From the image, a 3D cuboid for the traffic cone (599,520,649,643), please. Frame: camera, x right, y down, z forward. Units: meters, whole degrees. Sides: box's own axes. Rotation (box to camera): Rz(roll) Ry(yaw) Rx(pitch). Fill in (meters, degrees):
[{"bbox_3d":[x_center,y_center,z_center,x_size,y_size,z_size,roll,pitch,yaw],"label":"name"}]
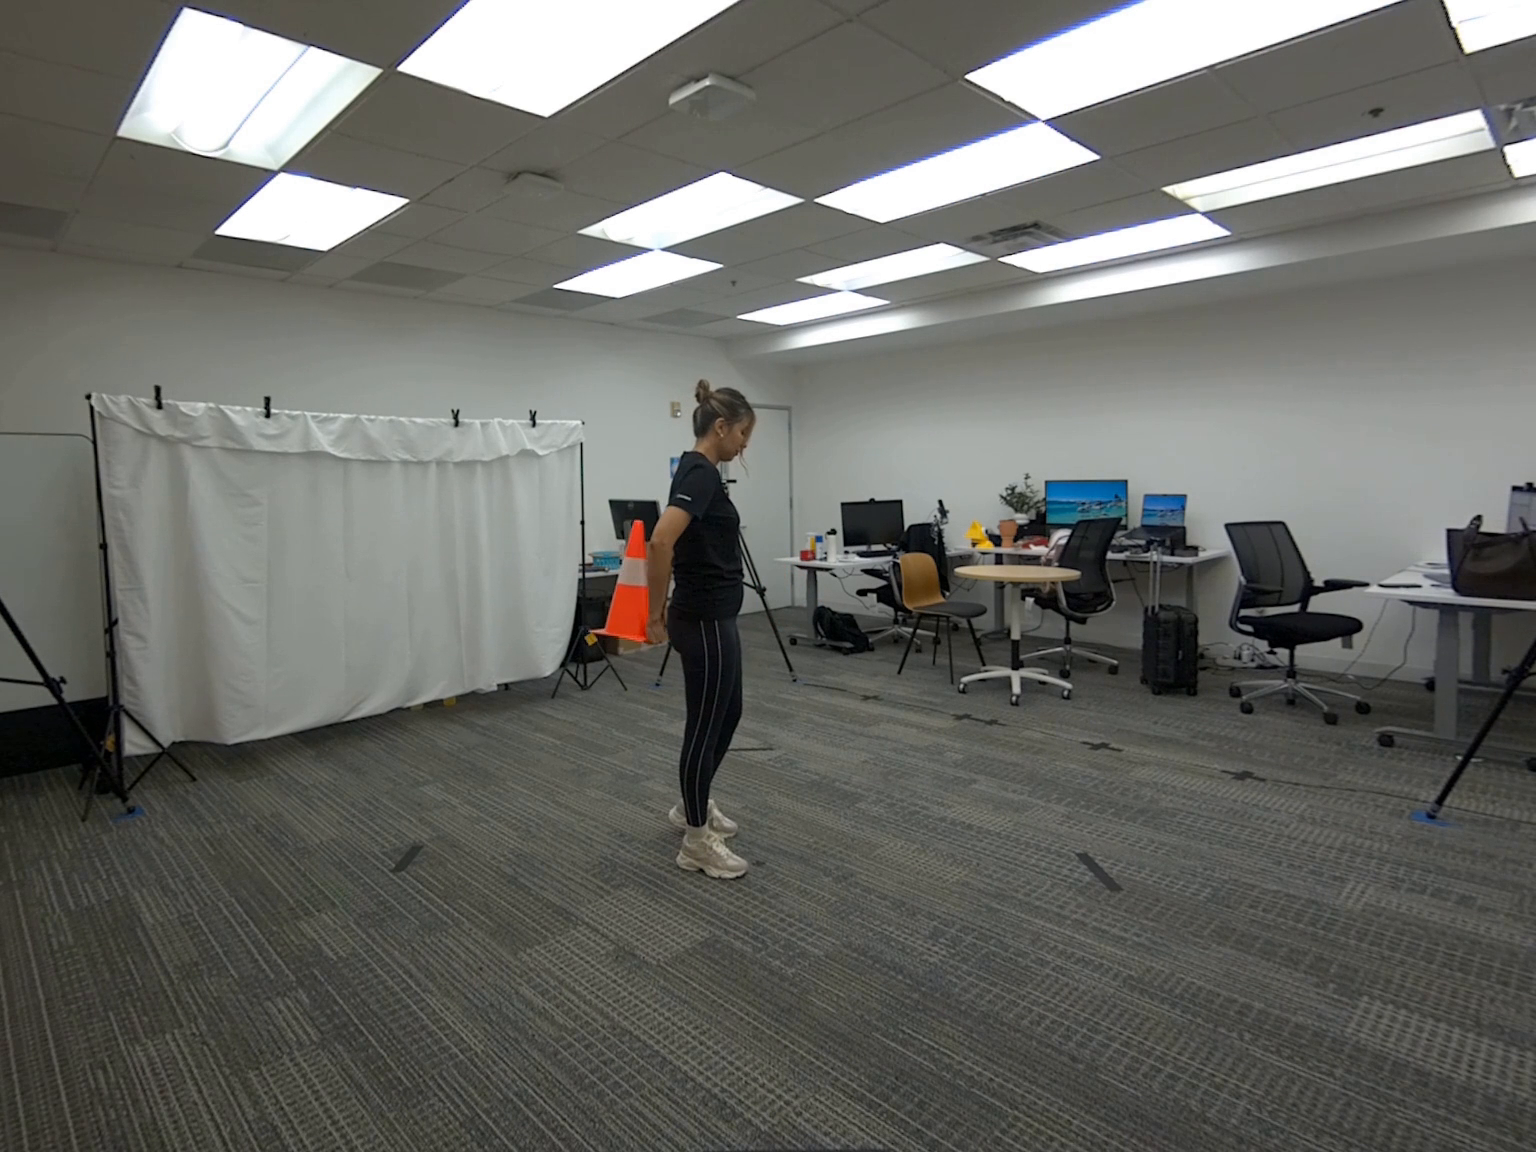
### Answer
[{"bbox_3d":[-0.440,0.006,2.864,0.206,0.384,0.202,5,0,14],"label":"traffic cone"}]
